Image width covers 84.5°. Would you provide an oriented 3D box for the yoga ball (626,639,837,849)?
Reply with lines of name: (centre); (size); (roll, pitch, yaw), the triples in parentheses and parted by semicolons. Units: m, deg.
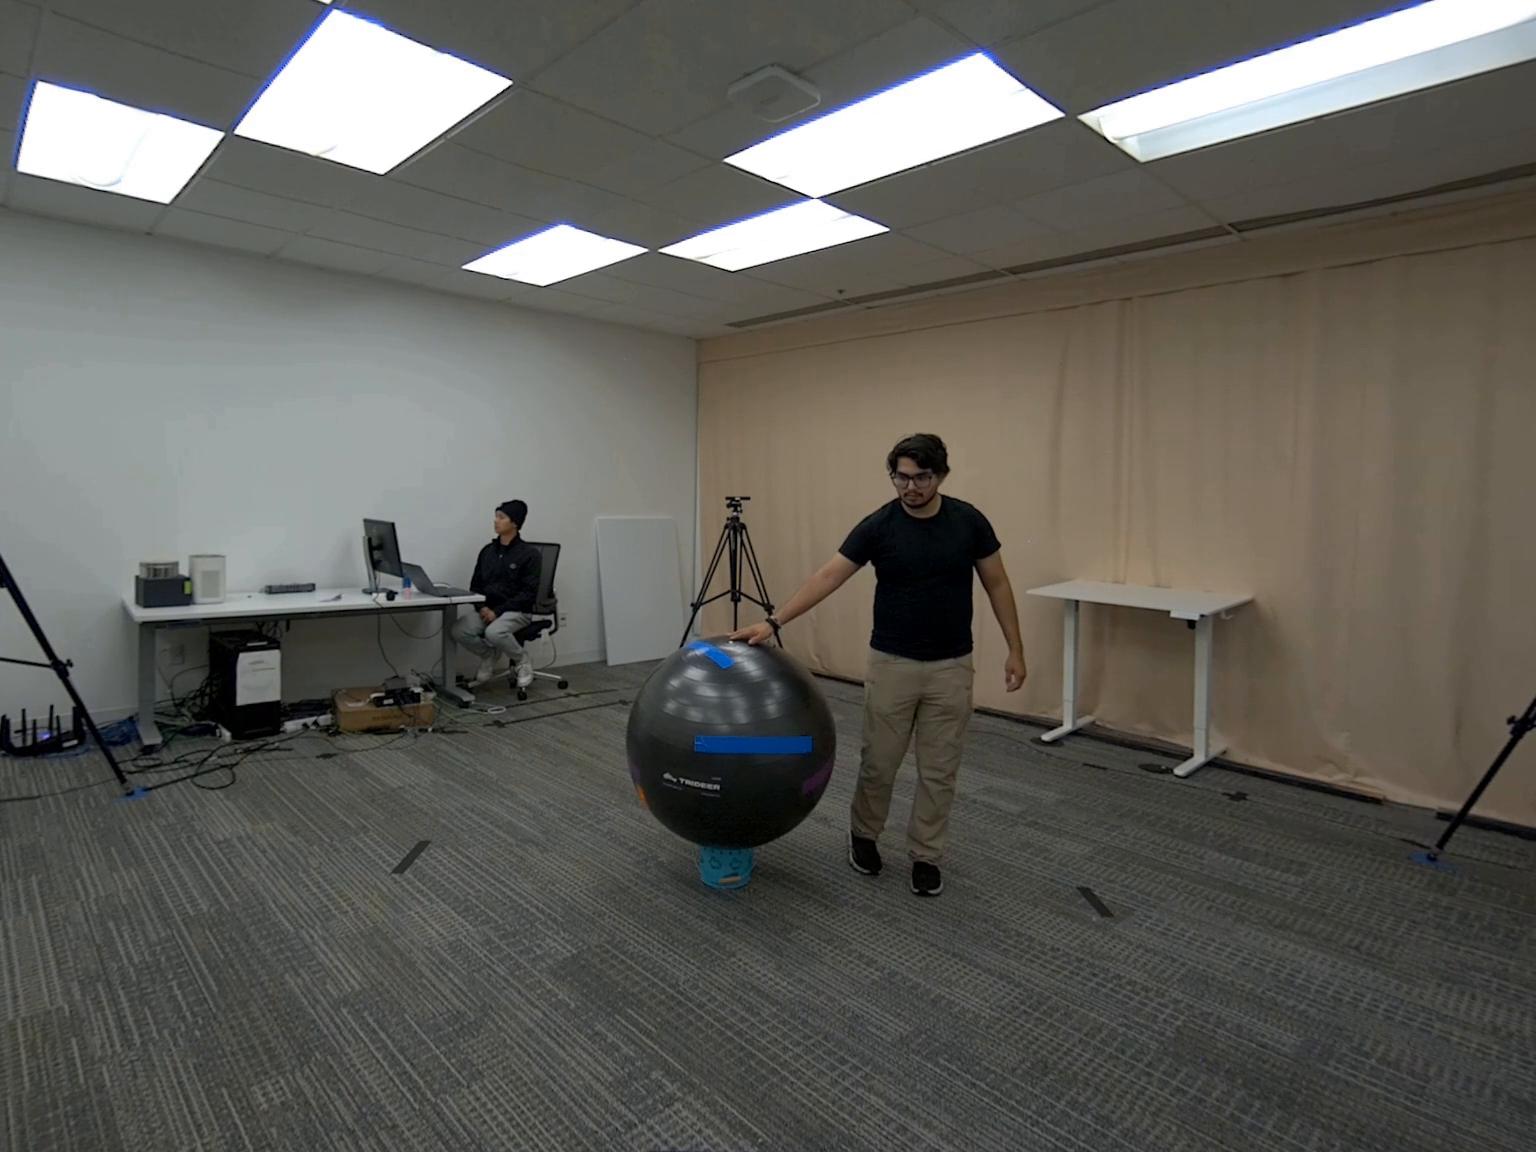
yoga ball: (-0.144, 0.607, 3.056); (0.757, 0.756, 0.760); (1, 4, -1)
